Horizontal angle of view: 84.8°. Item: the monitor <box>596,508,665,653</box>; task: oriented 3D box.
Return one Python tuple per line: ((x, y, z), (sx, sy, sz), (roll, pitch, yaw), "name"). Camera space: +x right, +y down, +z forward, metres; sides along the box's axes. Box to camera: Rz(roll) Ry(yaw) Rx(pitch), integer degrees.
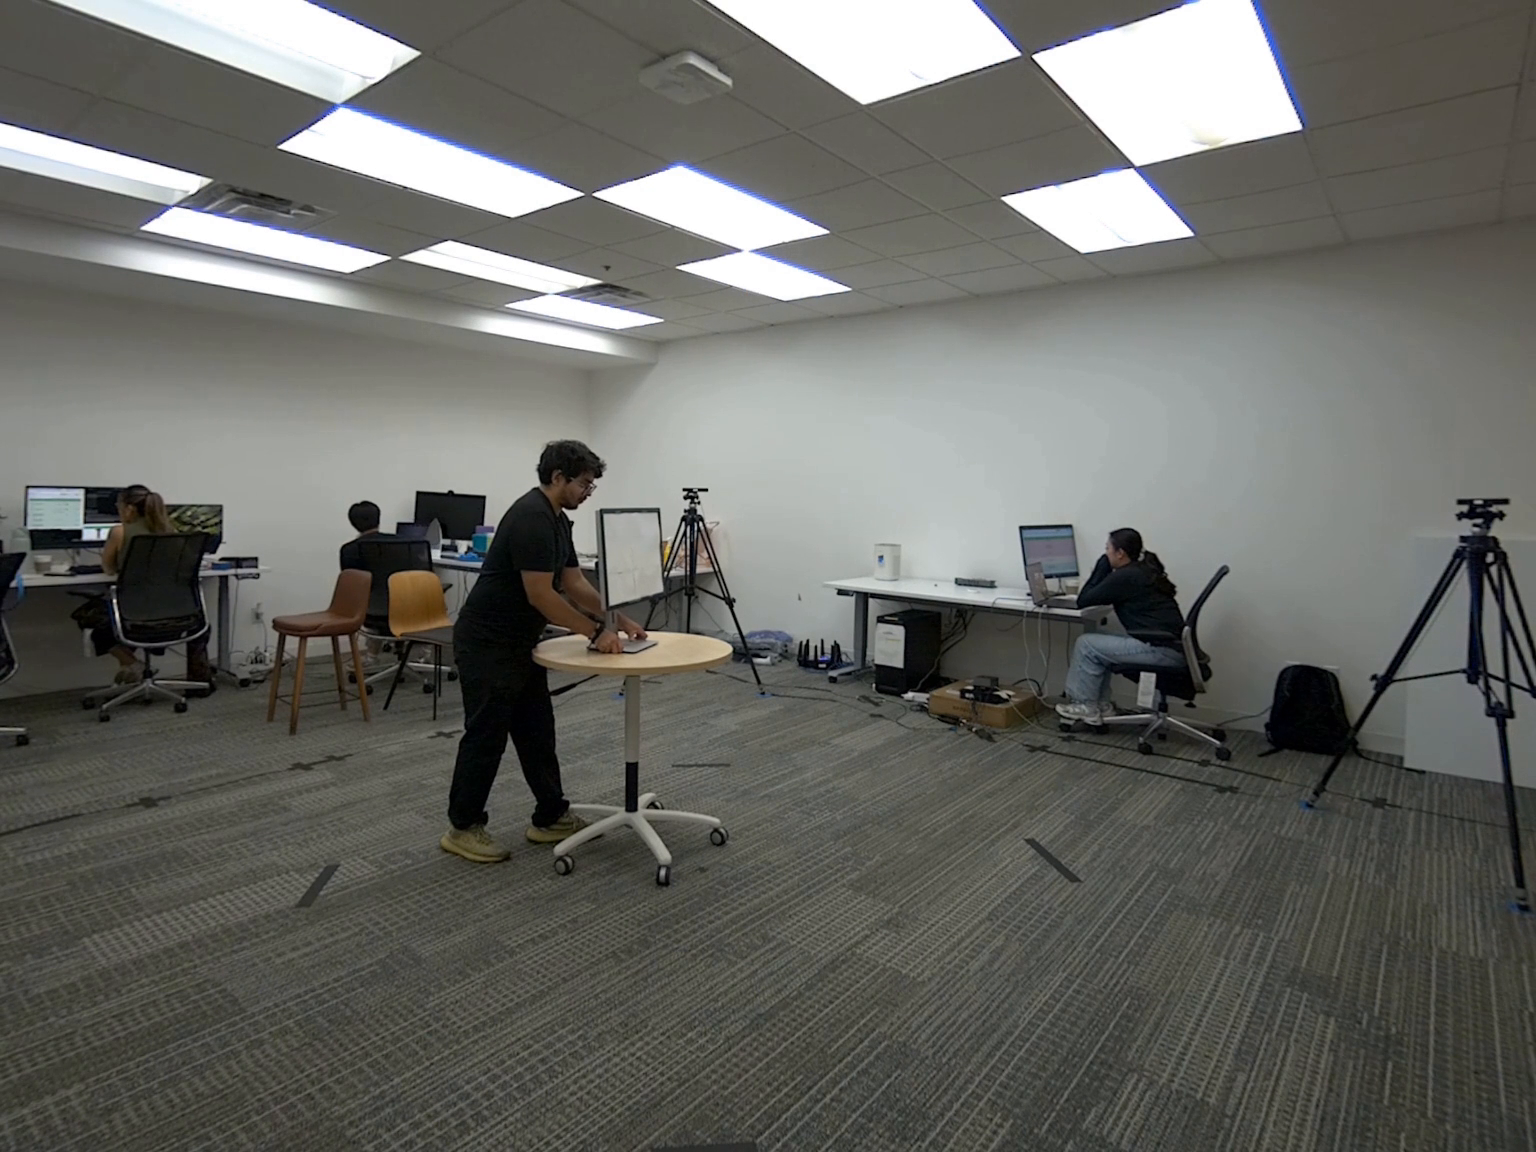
((-0.595, 0.008, 3.278), (0.214, 0.552, 0.556), (1, 4, 16), "monitor")
